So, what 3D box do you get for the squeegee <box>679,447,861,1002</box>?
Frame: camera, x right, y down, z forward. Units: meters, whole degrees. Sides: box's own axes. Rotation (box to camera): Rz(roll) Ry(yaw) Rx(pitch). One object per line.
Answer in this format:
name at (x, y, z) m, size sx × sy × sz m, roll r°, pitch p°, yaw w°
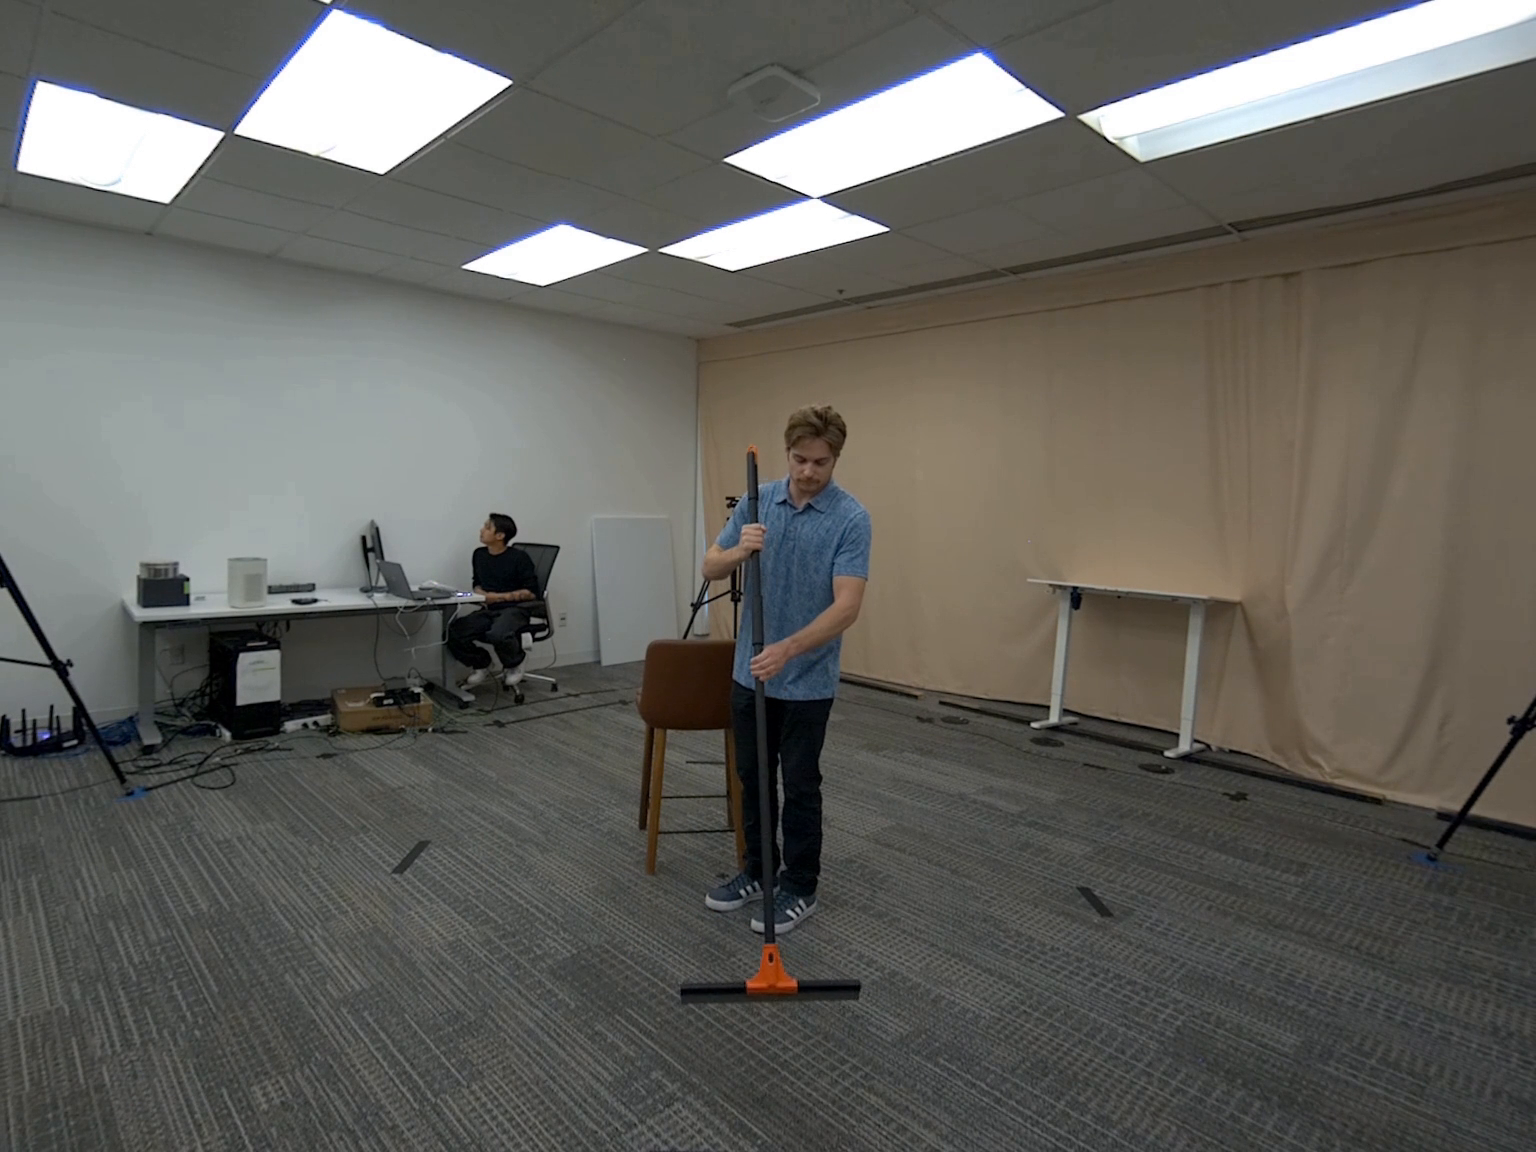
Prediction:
squeegee at (-0.044, 0.340, 2.308) m, size 0.437 × 1.566 × 0.052 m, roll -6°, pitch -24°, yaw -2°
